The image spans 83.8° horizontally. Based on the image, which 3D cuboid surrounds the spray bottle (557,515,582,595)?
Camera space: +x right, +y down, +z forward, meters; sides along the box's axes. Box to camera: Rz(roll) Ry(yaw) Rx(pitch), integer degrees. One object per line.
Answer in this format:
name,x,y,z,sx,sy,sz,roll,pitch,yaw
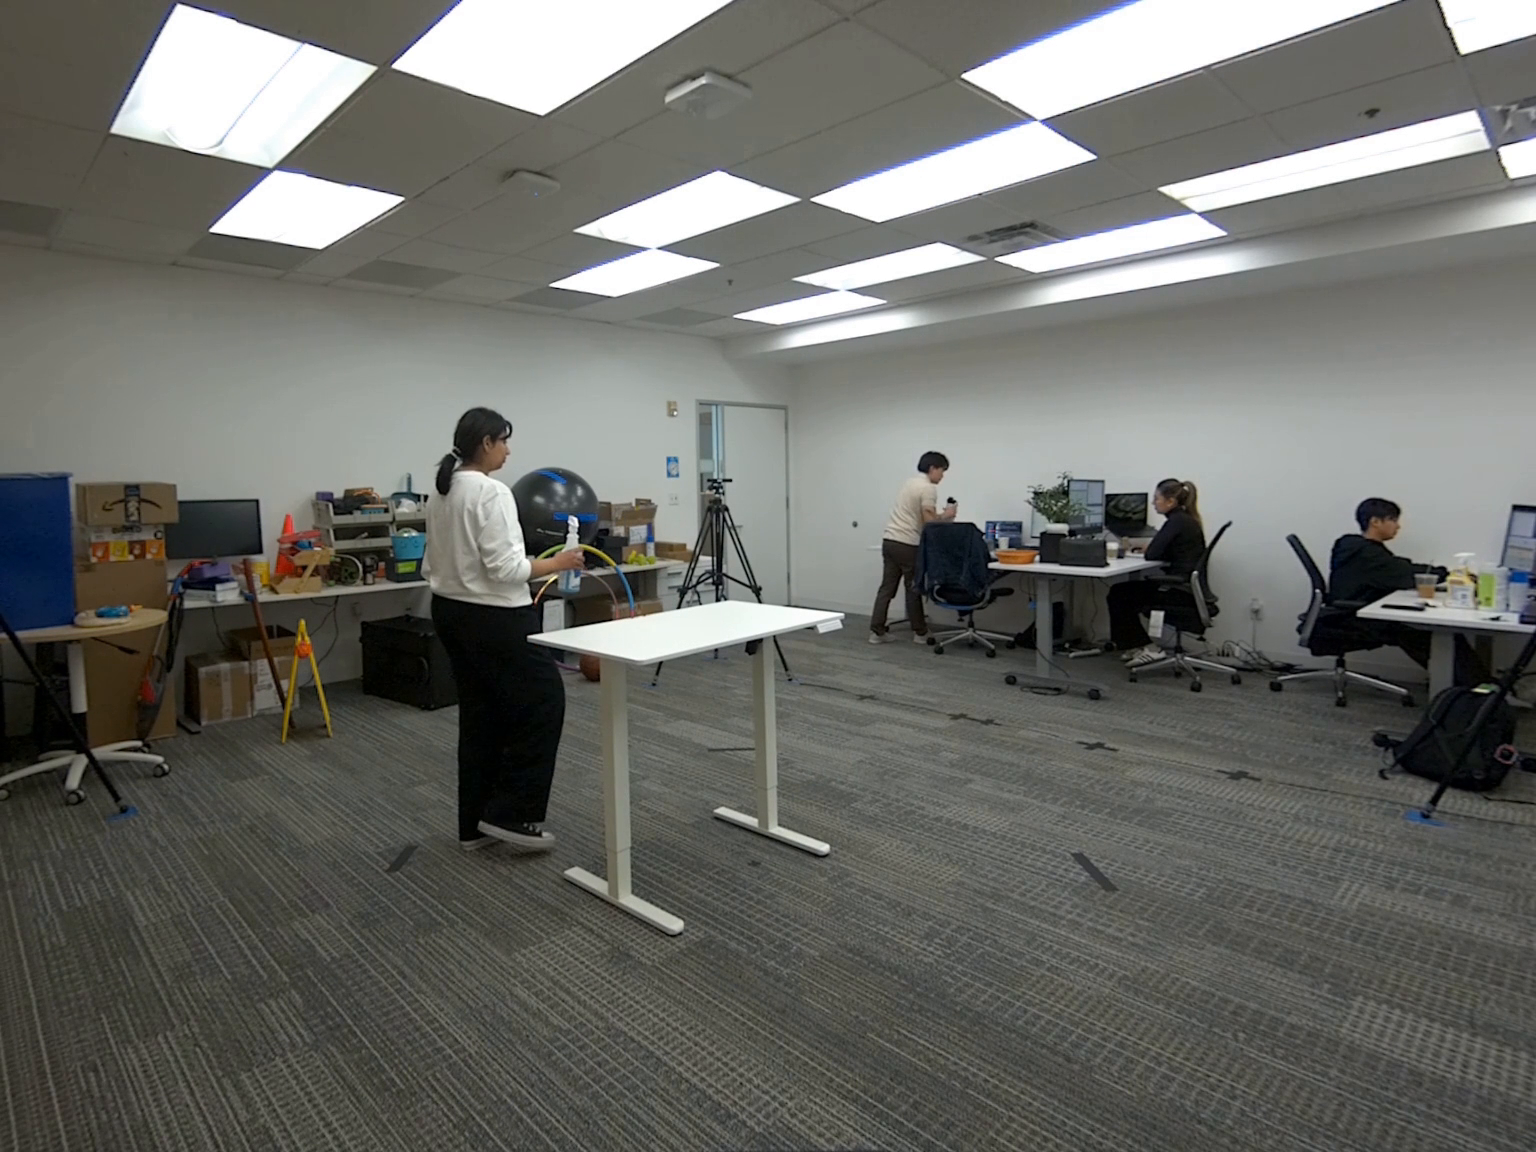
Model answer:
spray bottle,-0.788,-0.085,3.412,0.087,0.295,0.091,4,9,-3
